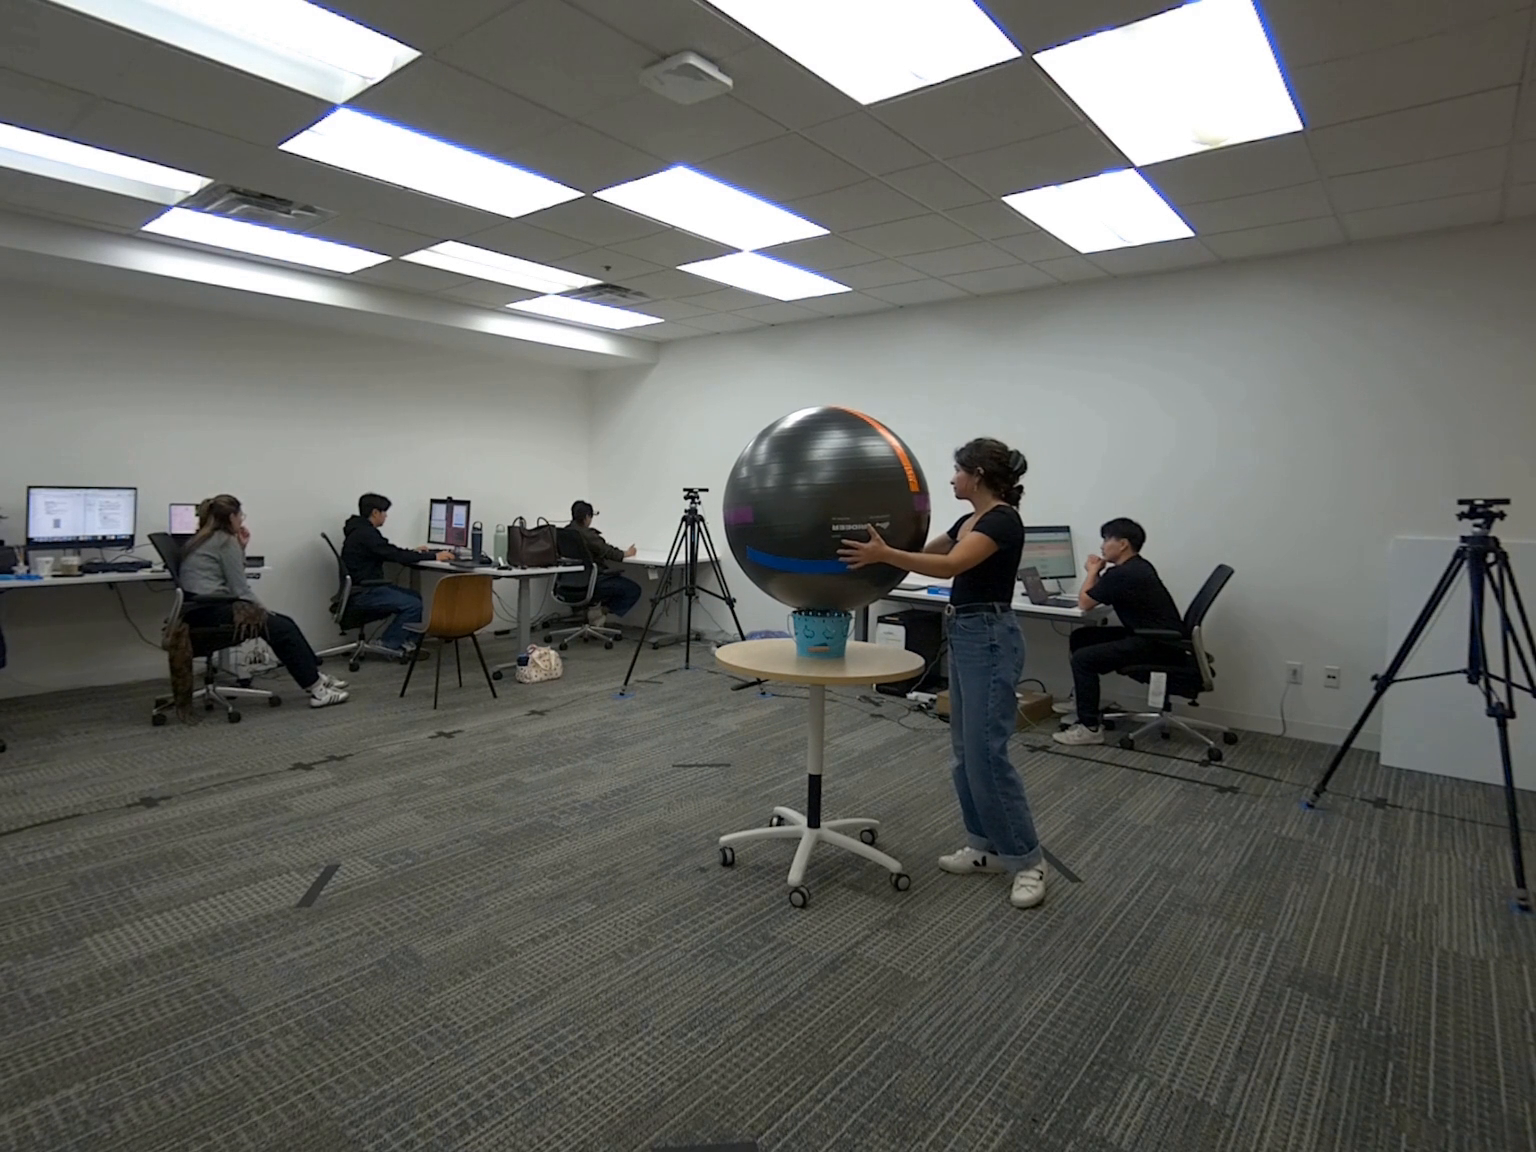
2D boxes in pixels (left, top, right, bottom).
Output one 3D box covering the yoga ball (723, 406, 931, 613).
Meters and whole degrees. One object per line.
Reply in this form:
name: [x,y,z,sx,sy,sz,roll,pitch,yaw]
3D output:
yoga ball: [0.214,-0.245,3.157,0.757,0.755,0.762,1,4,-2]
